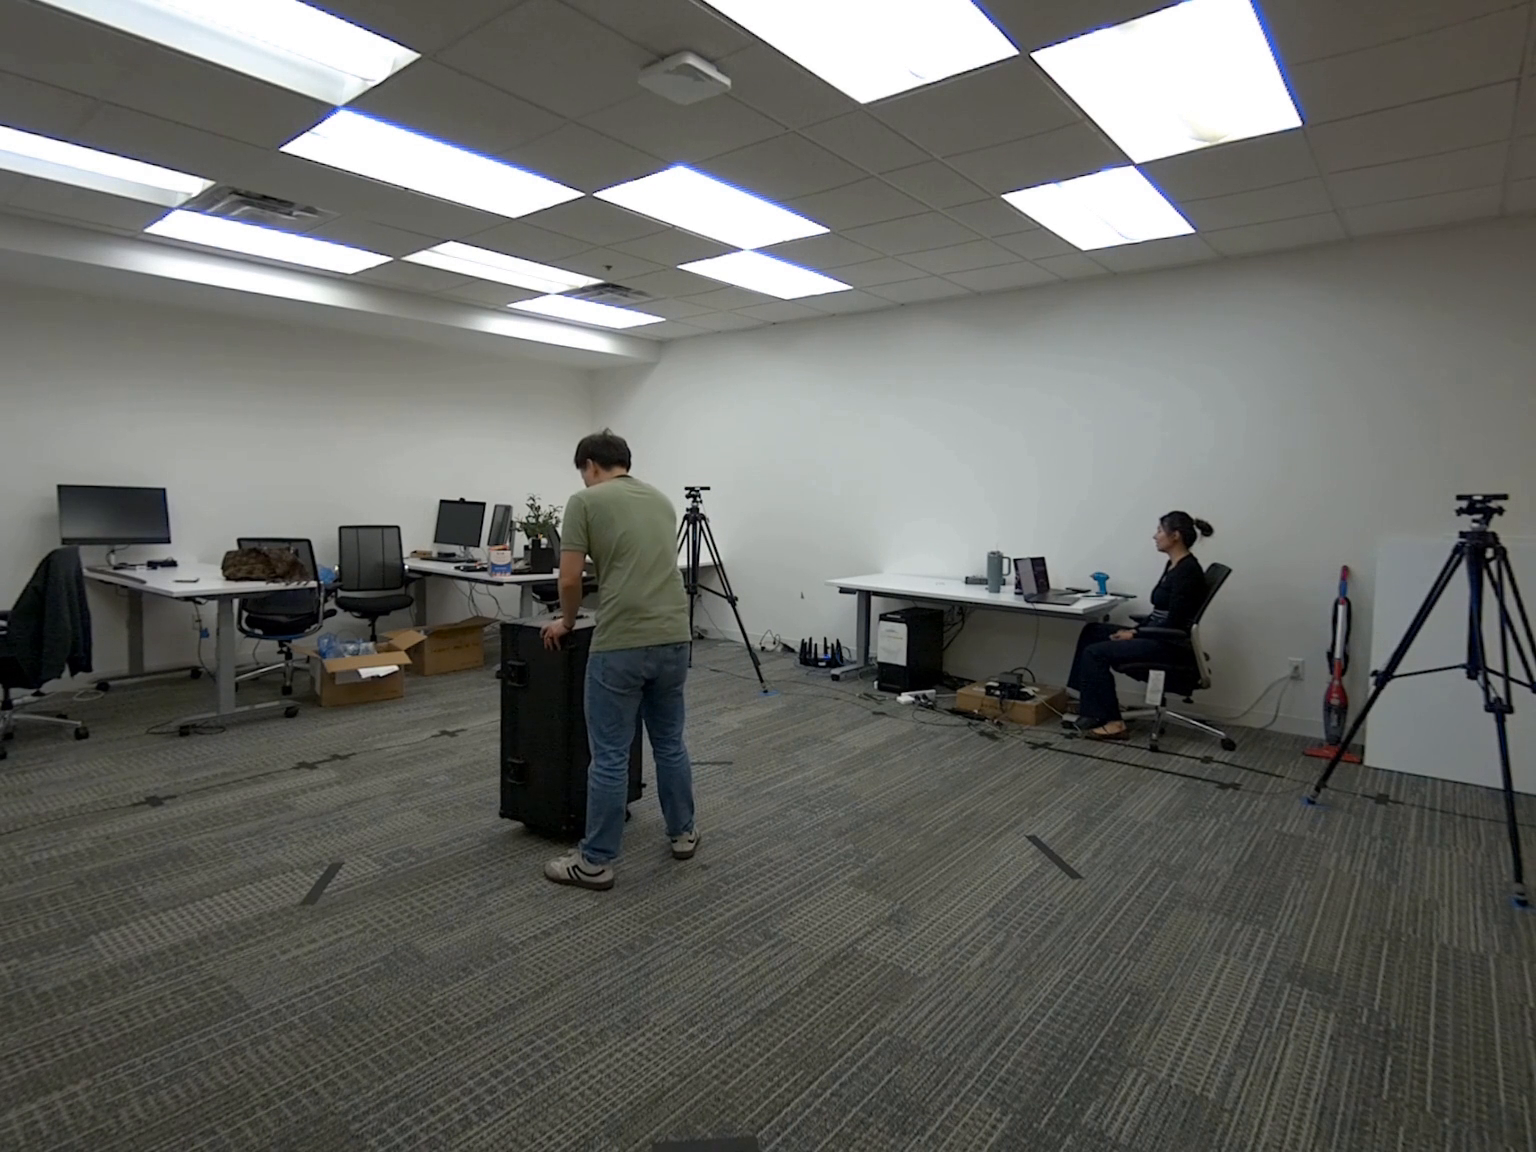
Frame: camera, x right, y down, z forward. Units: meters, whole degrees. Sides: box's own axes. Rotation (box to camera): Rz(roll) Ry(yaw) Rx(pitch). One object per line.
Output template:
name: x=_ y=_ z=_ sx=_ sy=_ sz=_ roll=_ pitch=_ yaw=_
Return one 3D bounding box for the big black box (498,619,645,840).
big black box: x=-0.802 y=0.594 z=3.487 sx=0.408 sy=0.859 sz=0.508 roll=3 pitch=4 yaw=30
